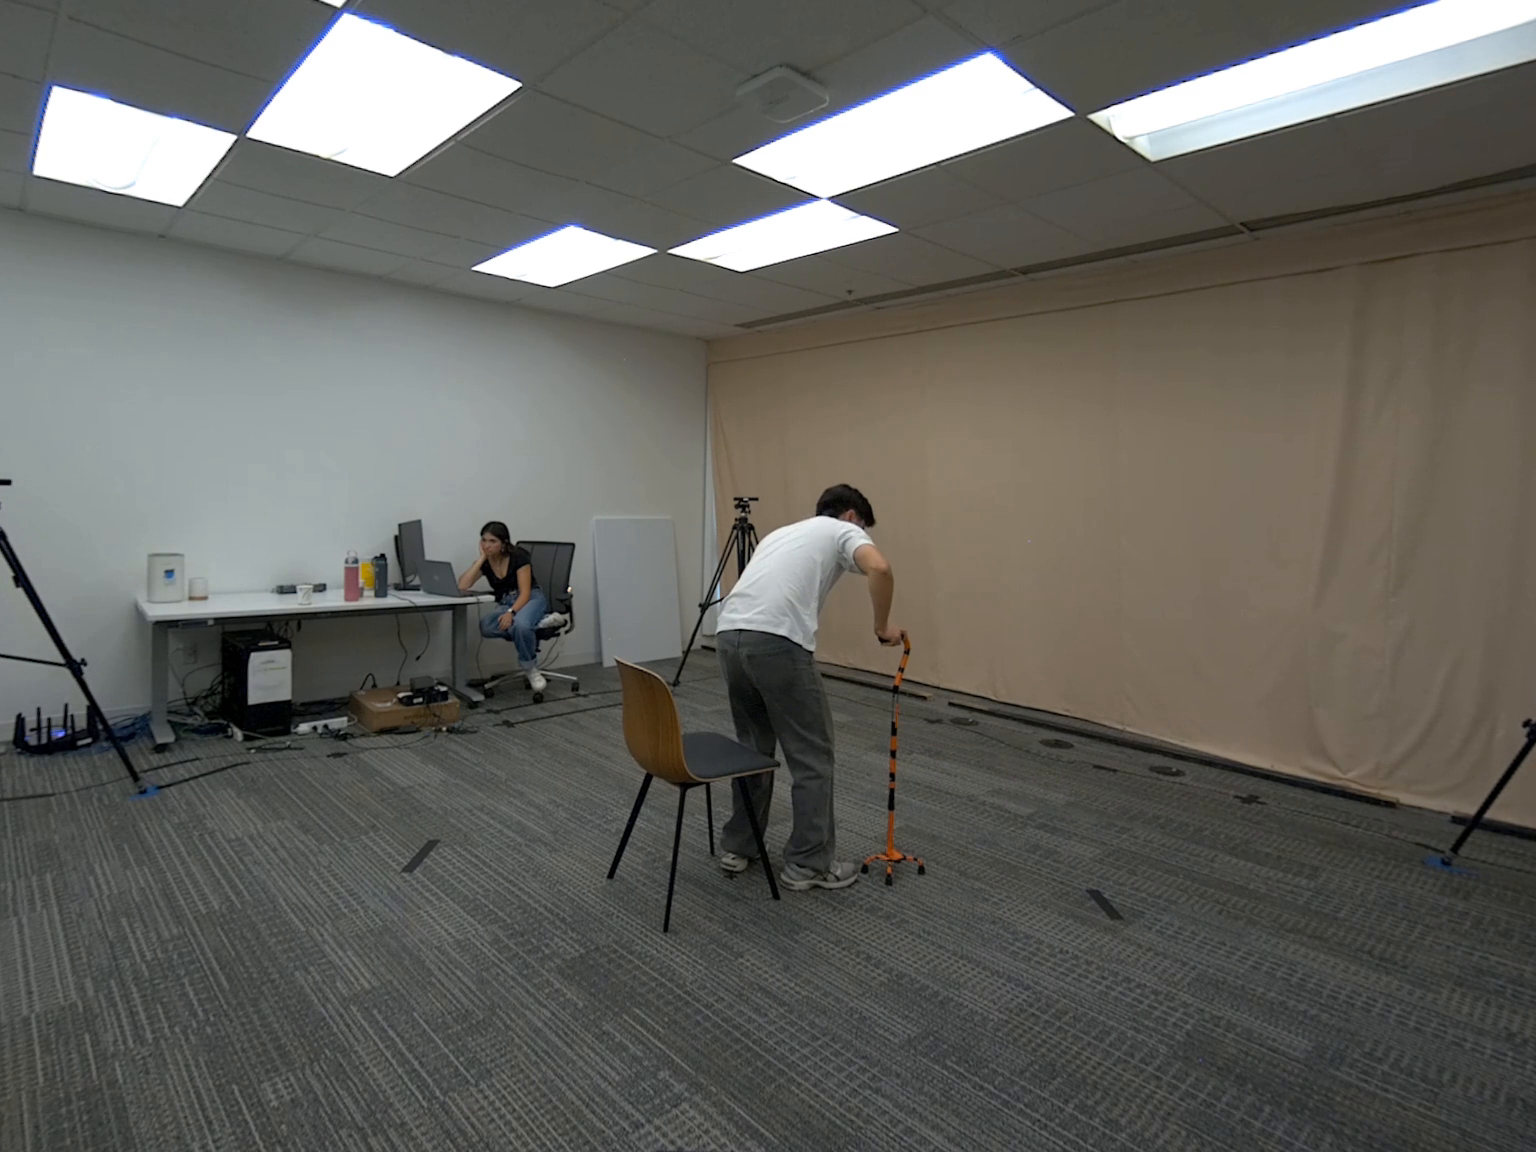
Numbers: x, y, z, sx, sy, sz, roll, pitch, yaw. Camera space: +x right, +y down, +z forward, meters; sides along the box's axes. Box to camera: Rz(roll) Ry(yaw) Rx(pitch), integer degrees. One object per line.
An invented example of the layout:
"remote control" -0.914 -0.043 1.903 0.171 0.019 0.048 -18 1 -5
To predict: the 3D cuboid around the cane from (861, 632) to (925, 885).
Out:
"cane" 0.478 0.660 3.141 0.202 0.906 0.155 0 3 -40
